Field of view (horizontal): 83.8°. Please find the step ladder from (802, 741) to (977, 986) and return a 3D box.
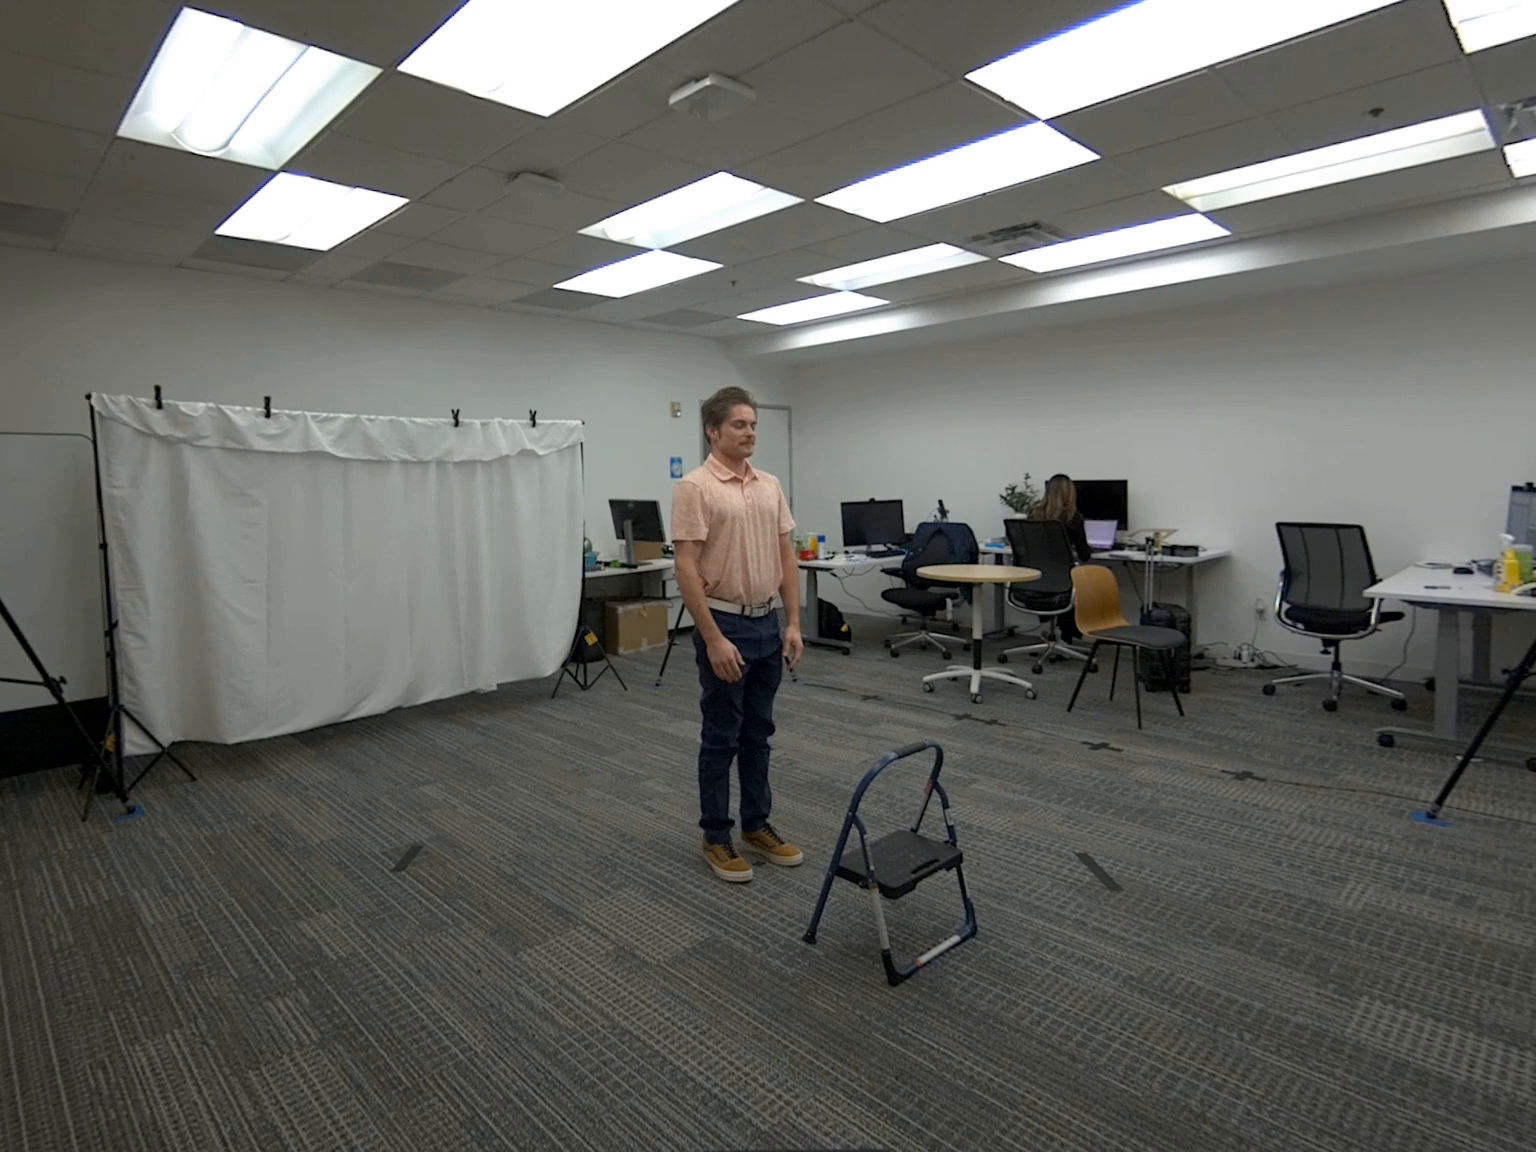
[{"bbox_3d":[0.373,0.798,2.581,0.419,0.604,0.360,-6,6,-43],"label":"step ladder"}]
